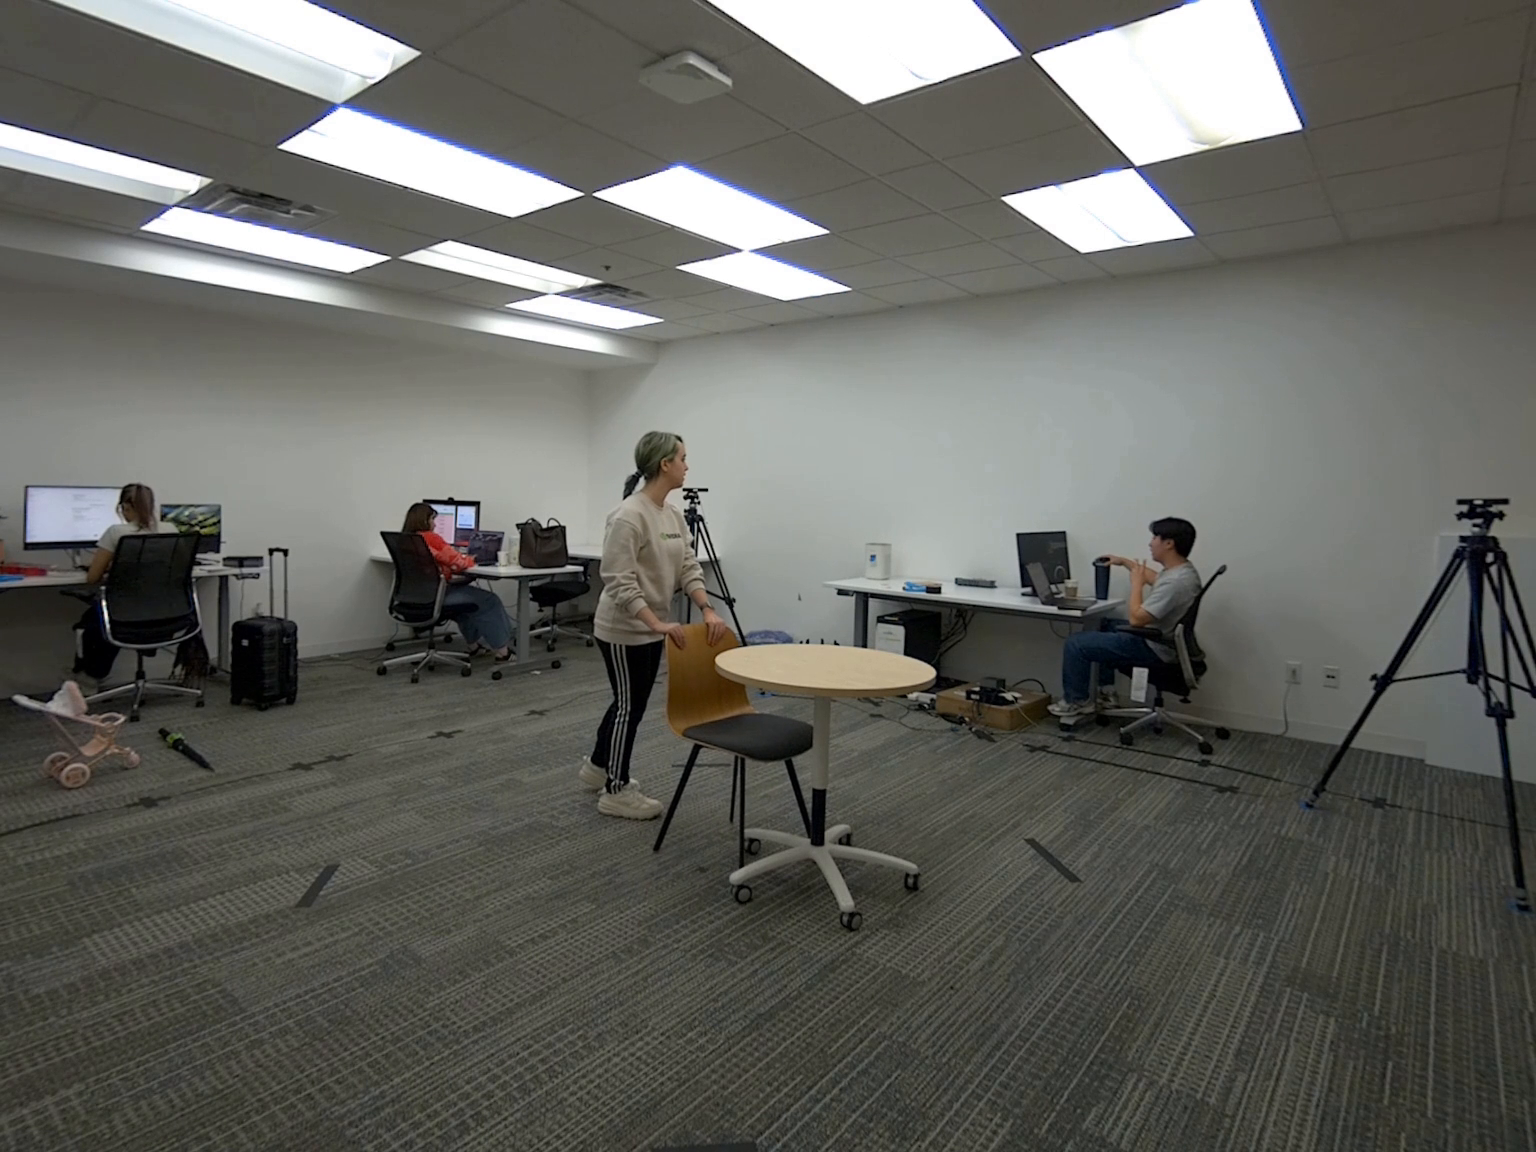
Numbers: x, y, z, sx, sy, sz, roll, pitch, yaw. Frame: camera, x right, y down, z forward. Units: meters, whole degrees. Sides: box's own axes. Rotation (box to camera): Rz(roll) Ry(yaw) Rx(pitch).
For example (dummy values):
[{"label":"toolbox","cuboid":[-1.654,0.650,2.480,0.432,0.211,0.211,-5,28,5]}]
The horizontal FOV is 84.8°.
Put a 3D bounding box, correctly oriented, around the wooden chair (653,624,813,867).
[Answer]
[{"label":"wooden chair","cuboid":[-0.119,0.630,3.227,0.539,0.878,0.463,-2,0,43]}]
